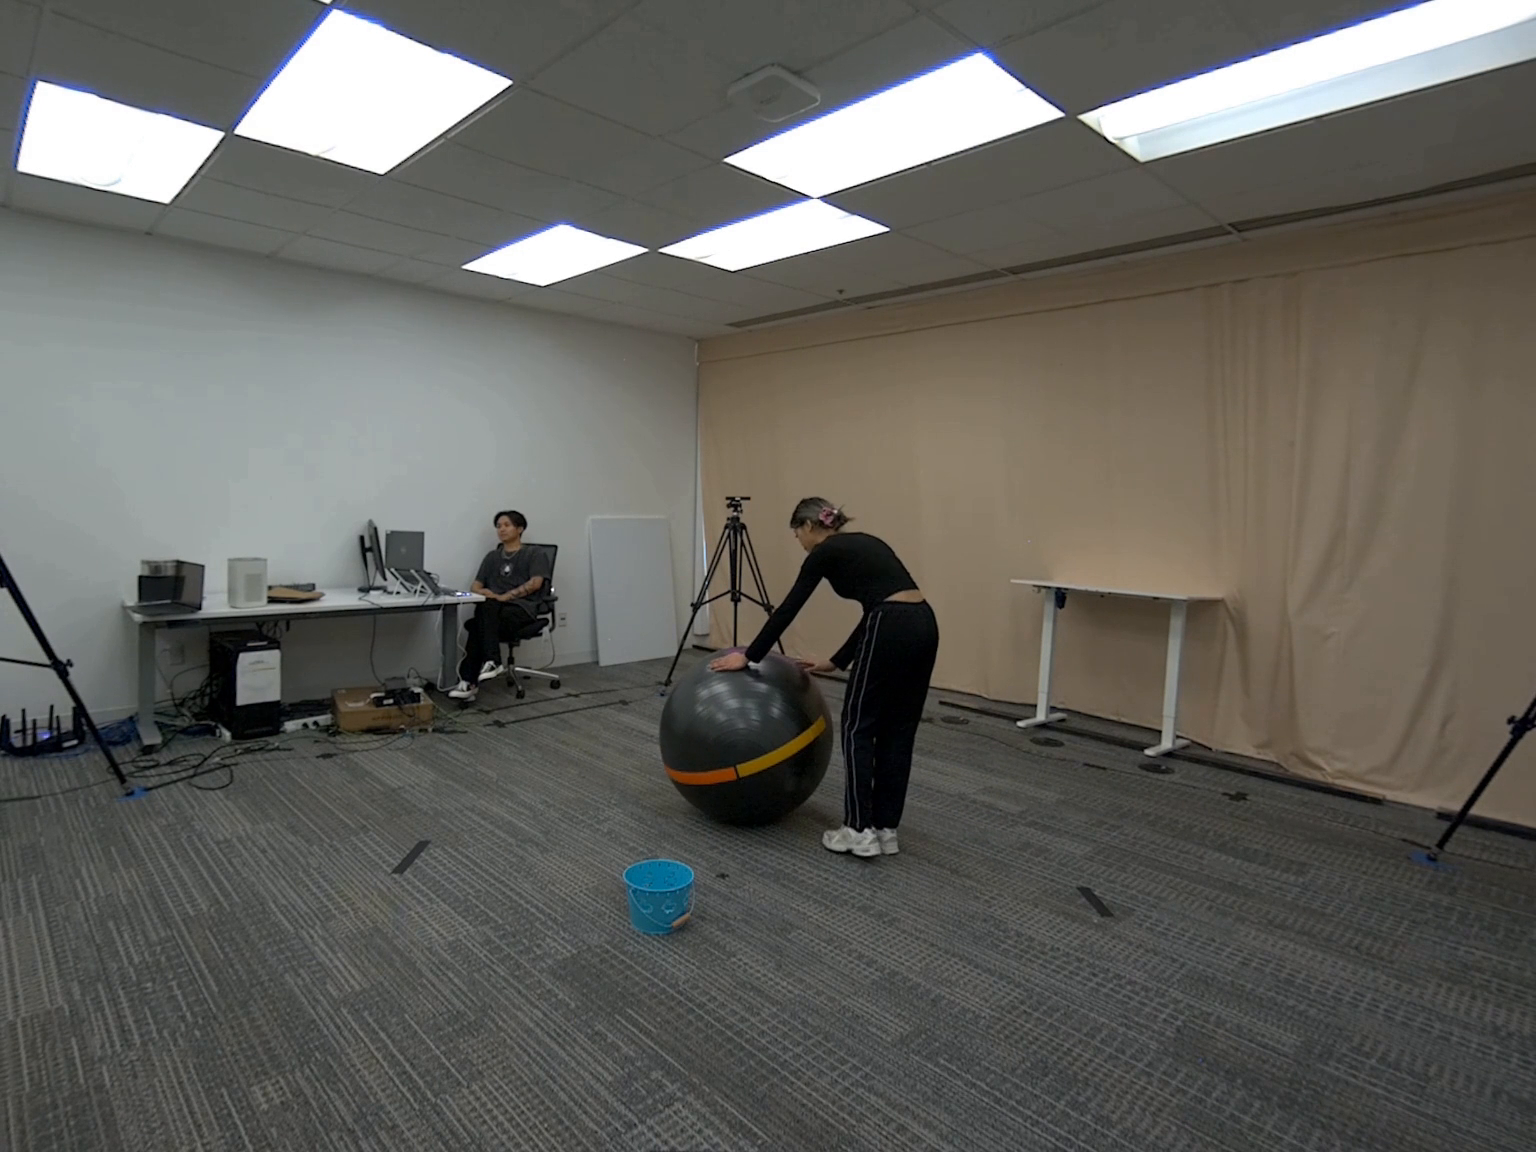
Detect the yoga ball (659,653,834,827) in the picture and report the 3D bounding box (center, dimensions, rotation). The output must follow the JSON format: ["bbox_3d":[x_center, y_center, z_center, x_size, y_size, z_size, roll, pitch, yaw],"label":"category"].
[{"bbox_3d":[-0.101,0.693,3.685,0.757,0.756,0.761,1,4,-1],"label":"yoga ball"}]
